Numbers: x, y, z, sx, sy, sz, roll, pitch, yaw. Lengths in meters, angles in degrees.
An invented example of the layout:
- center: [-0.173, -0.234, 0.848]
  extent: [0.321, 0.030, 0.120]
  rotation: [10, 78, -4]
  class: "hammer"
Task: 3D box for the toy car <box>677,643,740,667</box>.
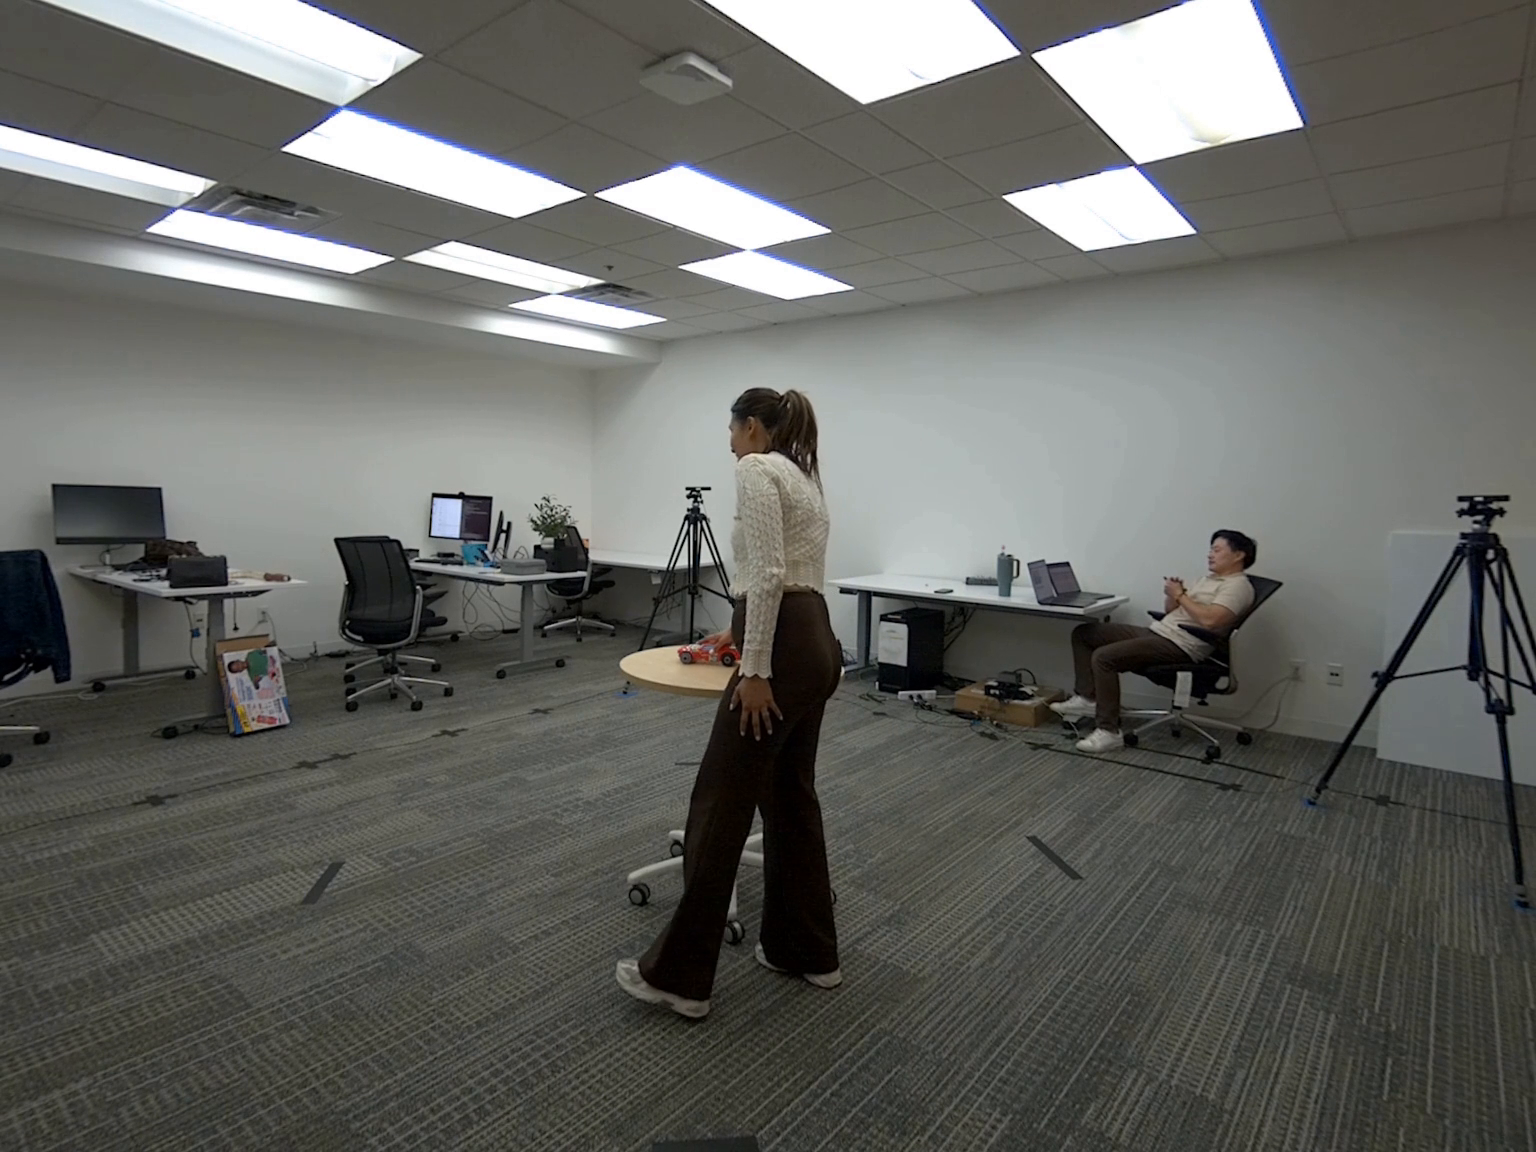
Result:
- center: [-0.189, 0.268, 2.942]
  extent: [0.256, 0.083, 0.130]
  rotation: [-9, 2, 5]
  class: "toy car"
